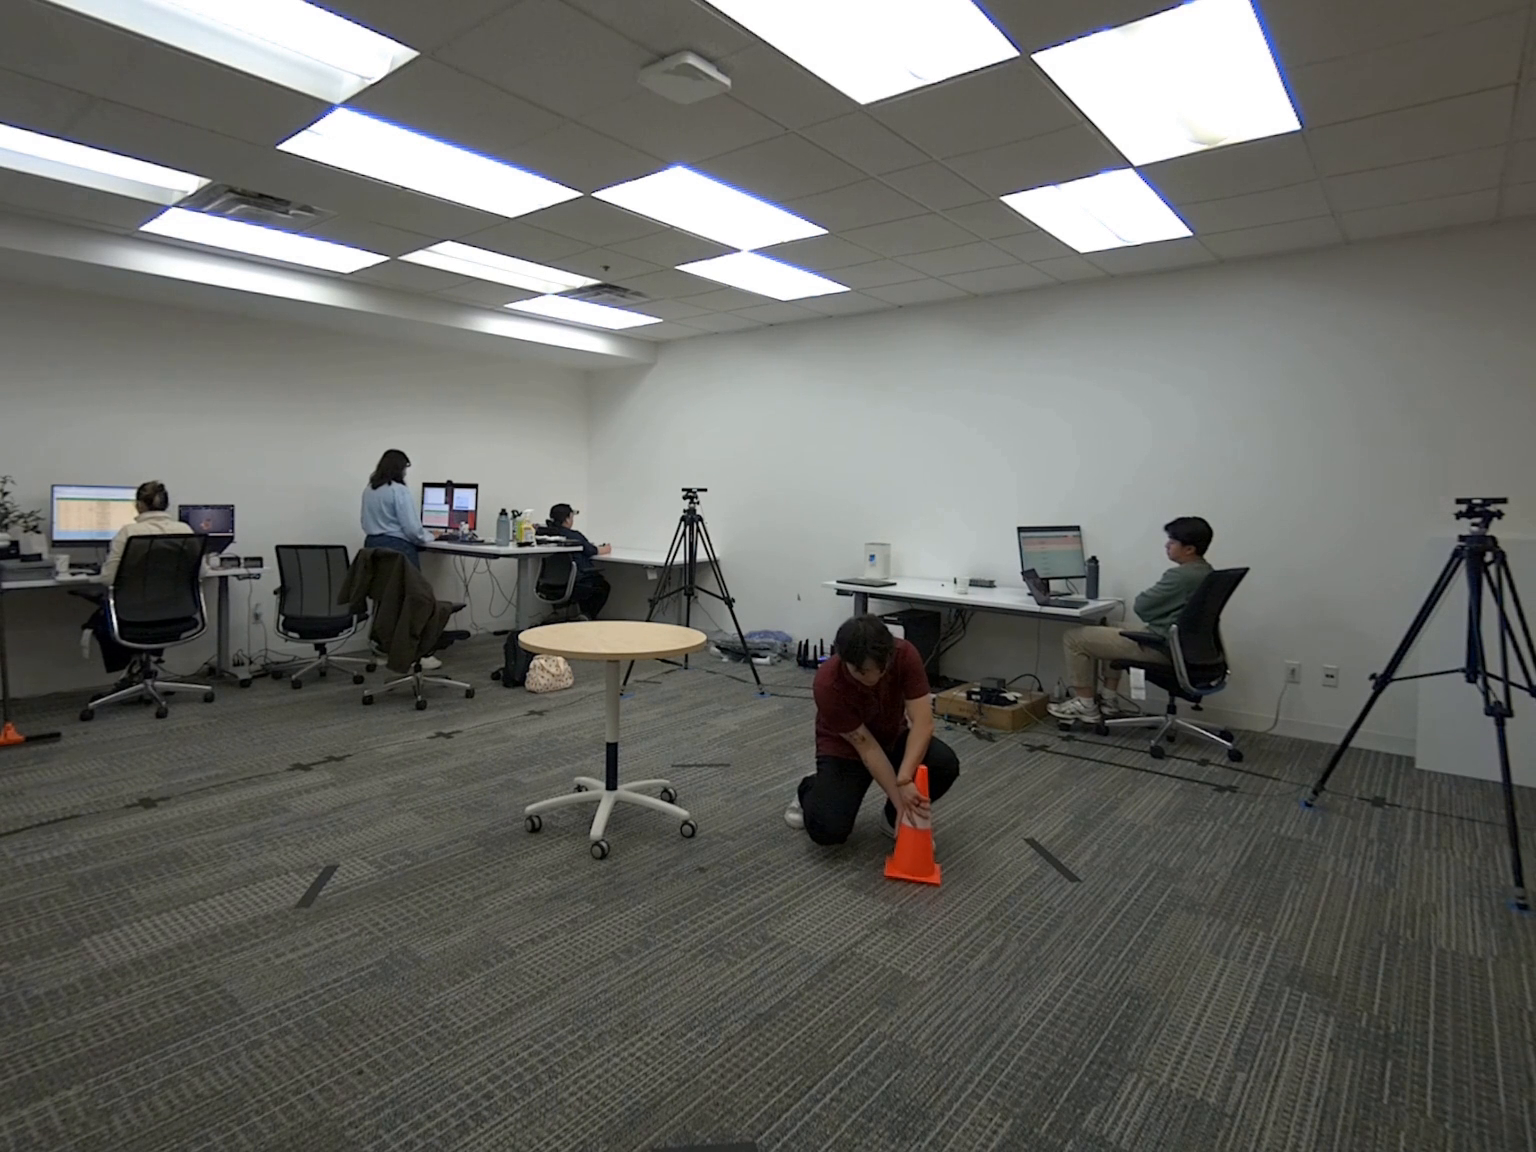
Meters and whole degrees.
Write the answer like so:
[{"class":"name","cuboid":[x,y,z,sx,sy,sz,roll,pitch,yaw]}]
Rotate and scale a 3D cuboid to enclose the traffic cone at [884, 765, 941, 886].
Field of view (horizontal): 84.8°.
[{"class":"traffic cone","cuboid":[0.546,0.887,3.131,0.206,0.384,0.202,7,-2,12]}]
